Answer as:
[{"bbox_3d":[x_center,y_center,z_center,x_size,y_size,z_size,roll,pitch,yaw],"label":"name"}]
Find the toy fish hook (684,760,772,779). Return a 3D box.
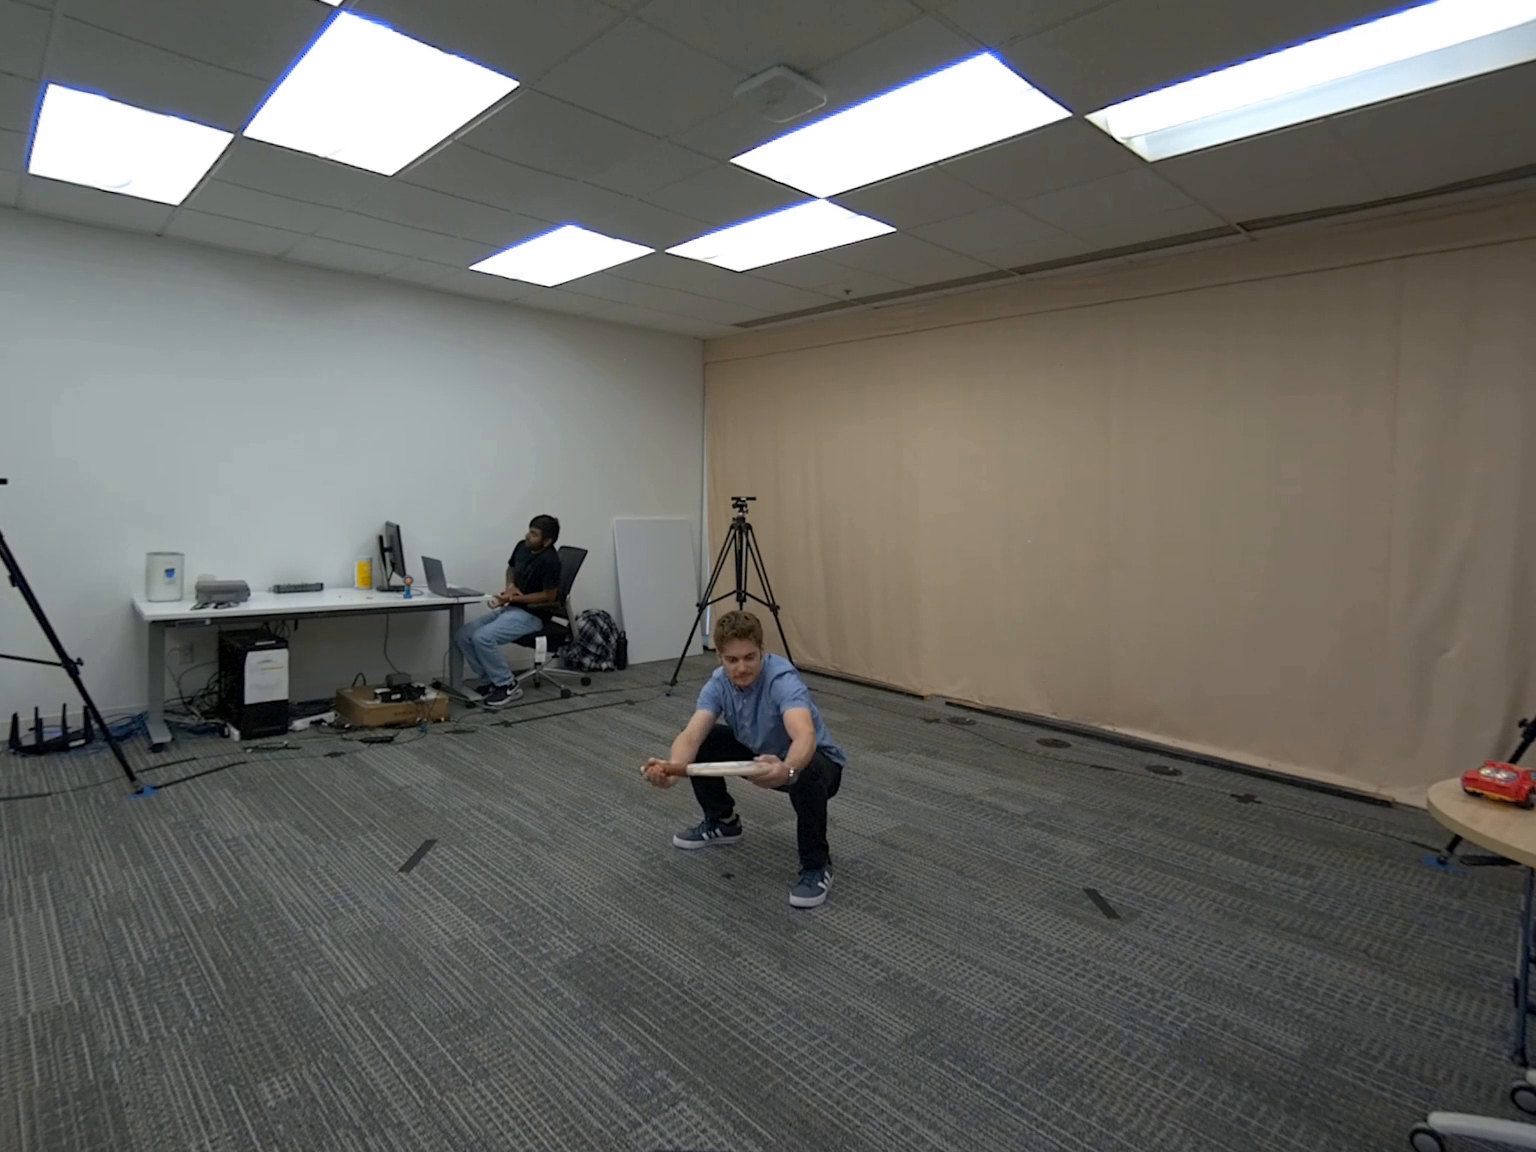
[{"bbox_3d":[-0.228,0.601,2.580,0.515,0.049,0.218,-9,-15,31],"label":"toy fish hook"}]
